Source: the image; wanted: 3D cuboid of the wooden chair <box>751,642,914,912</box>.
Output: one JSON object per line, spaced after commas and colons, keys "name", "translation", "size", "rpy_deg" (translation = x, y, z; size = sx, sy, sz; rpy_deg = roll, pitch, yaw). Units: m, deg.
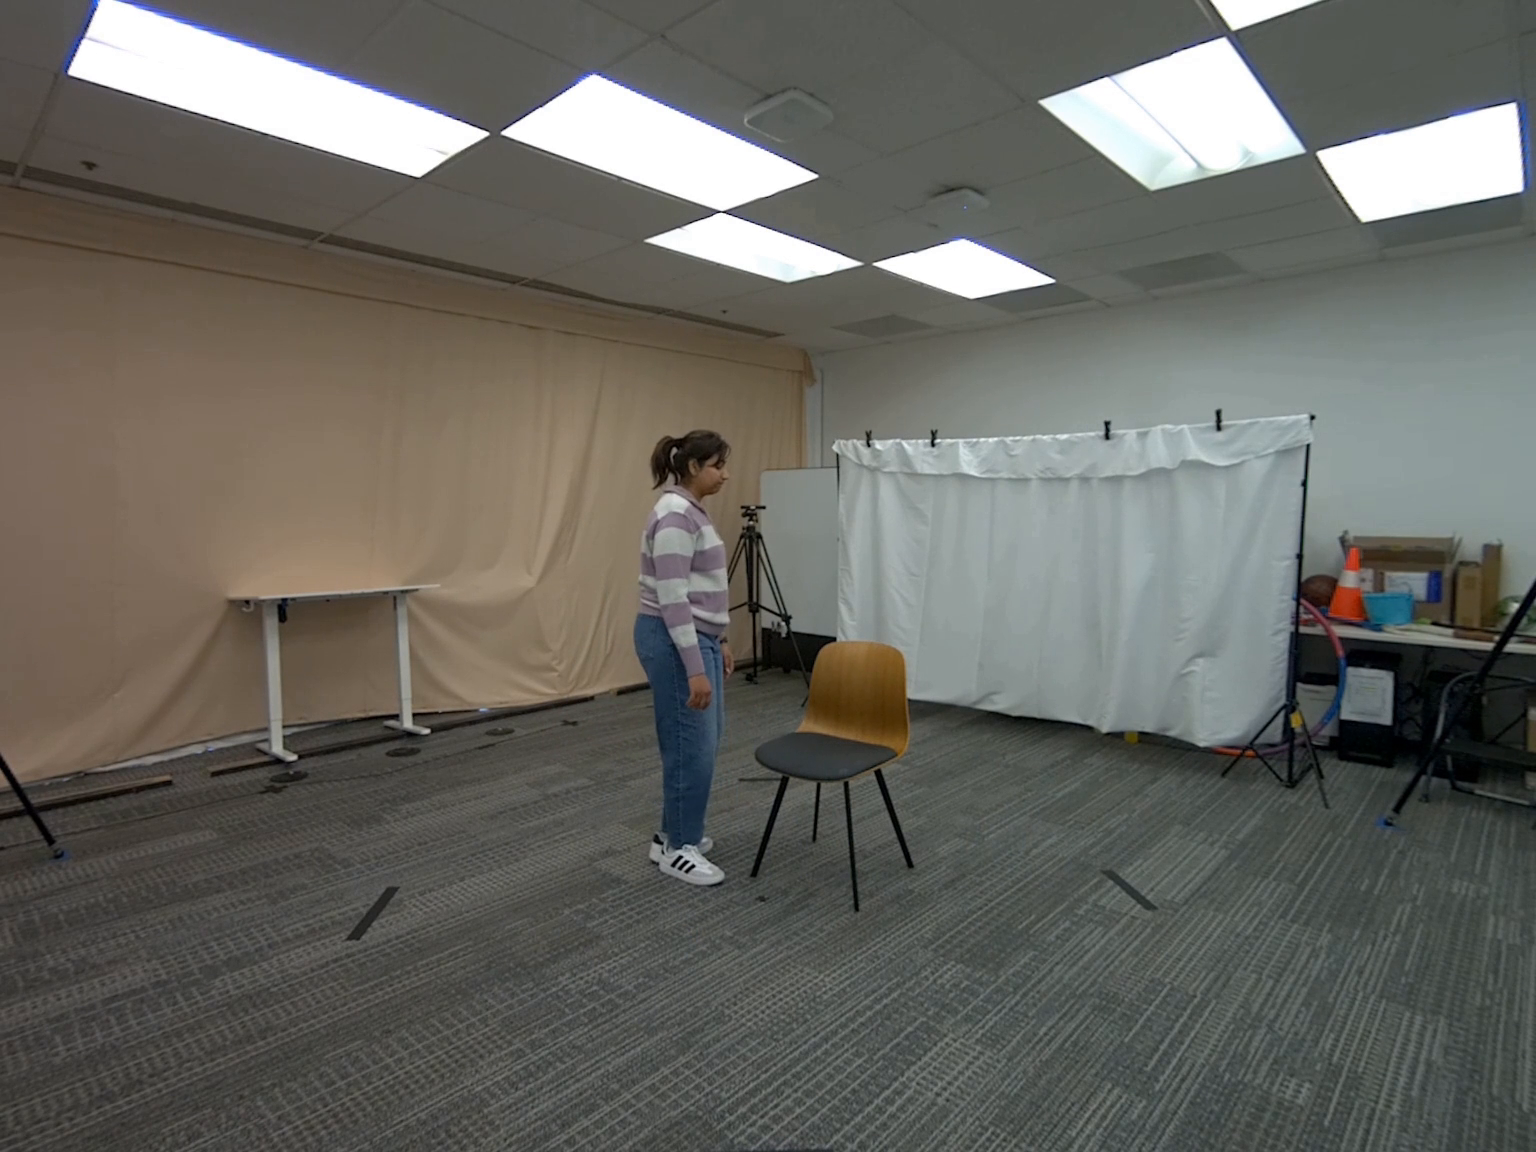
{"name": "wooden chair", "translation": [0.248, 0.700, 3.154], "size": [0.493, 0.877, 0.507], "rpy_deg": [3, 0, 36]}
